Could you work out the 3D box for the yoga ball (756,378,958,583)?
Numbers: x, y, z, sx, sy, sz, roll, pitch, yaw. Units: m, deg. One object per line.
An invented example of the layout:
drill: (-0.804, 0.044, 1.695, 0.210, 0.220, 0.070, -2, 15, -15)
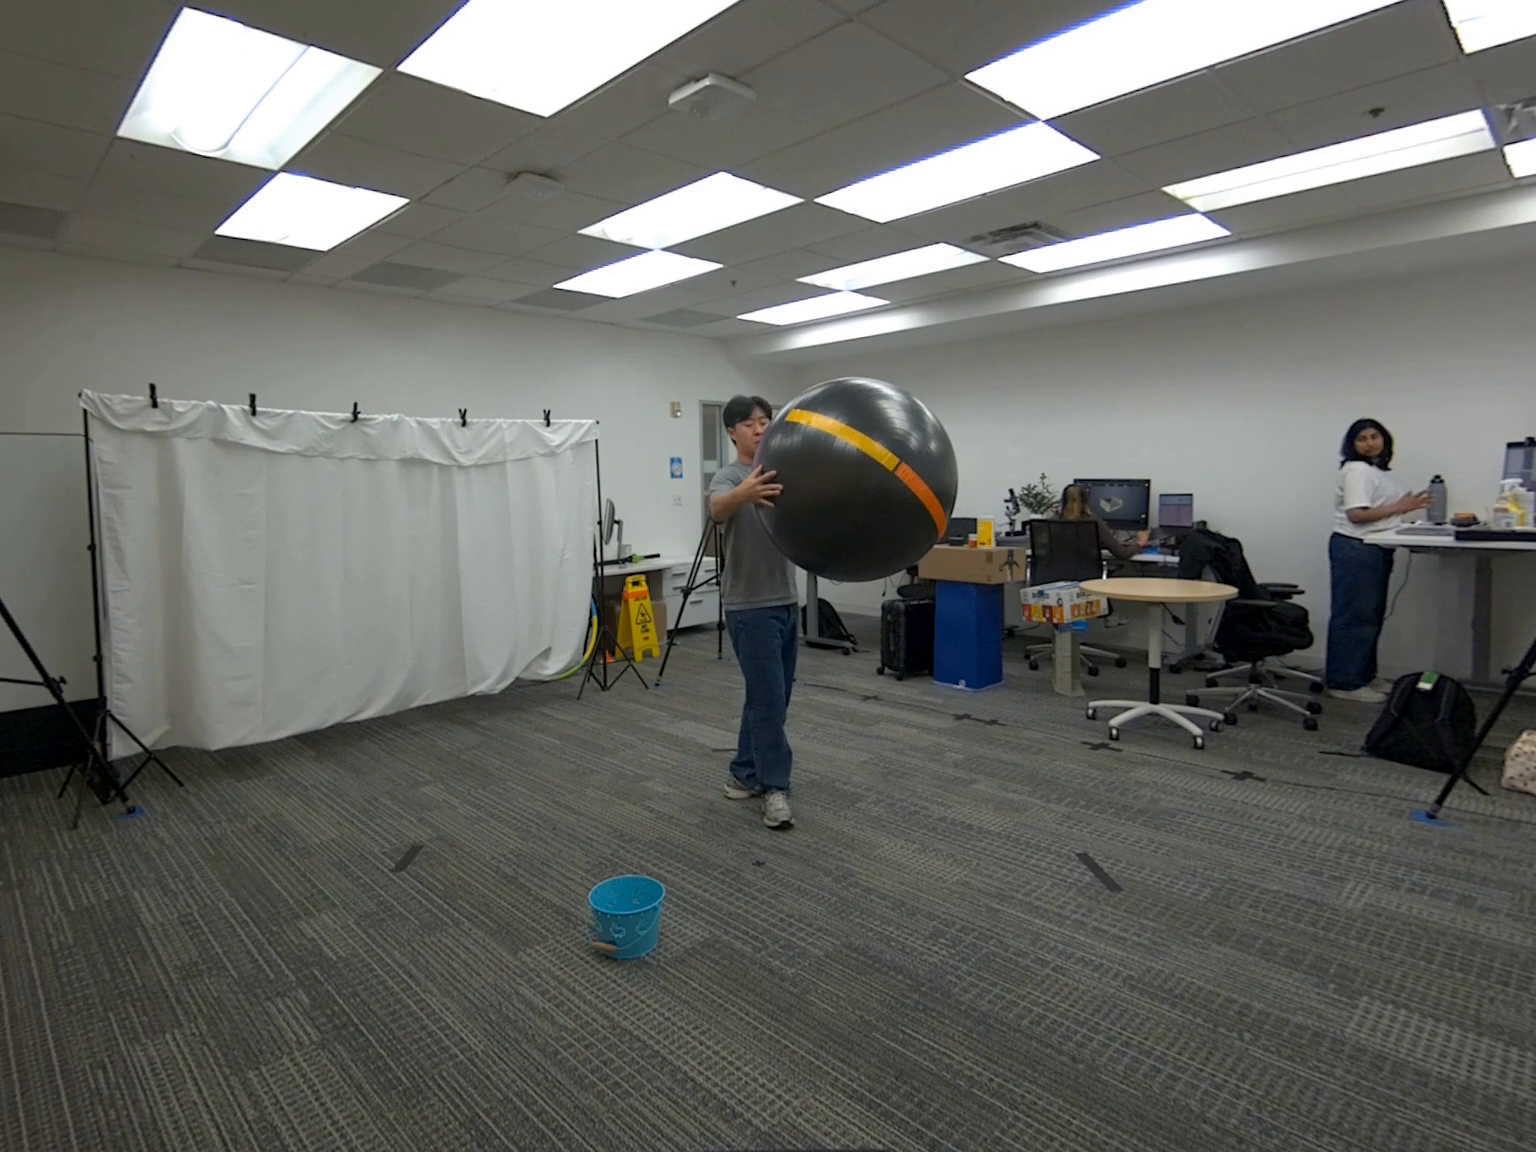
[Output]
yoga ball: (0.325, -0.353, 3.192, 0.757, 0.755, 0.762, -1, 5, -2)
